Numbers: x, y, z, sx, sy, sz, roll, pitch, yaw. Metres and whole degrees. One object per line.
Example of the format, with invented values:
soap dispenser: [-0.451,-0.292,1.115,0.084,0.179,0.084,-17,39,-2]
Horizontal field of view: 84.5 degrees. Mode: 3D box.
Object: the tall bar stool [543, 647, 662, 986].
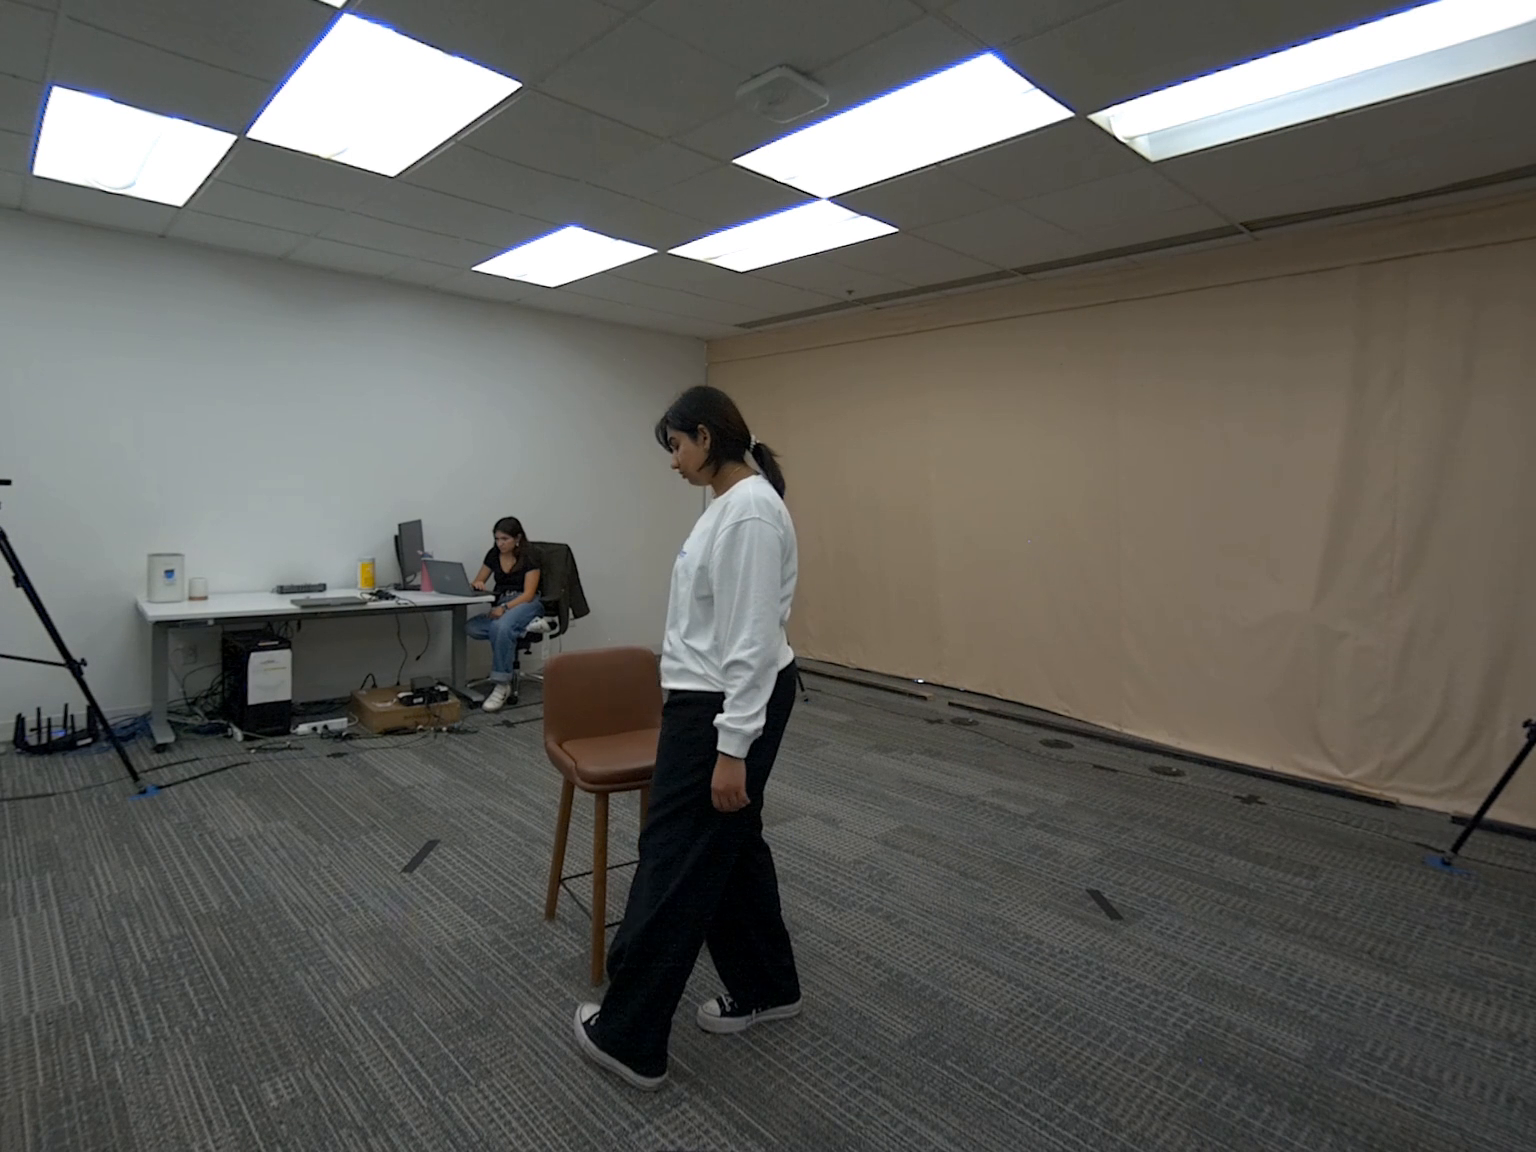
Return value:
tall bar stool: [-0.450,0.705,2.655,0.447,0.888,0.478,-1,3,-34]
